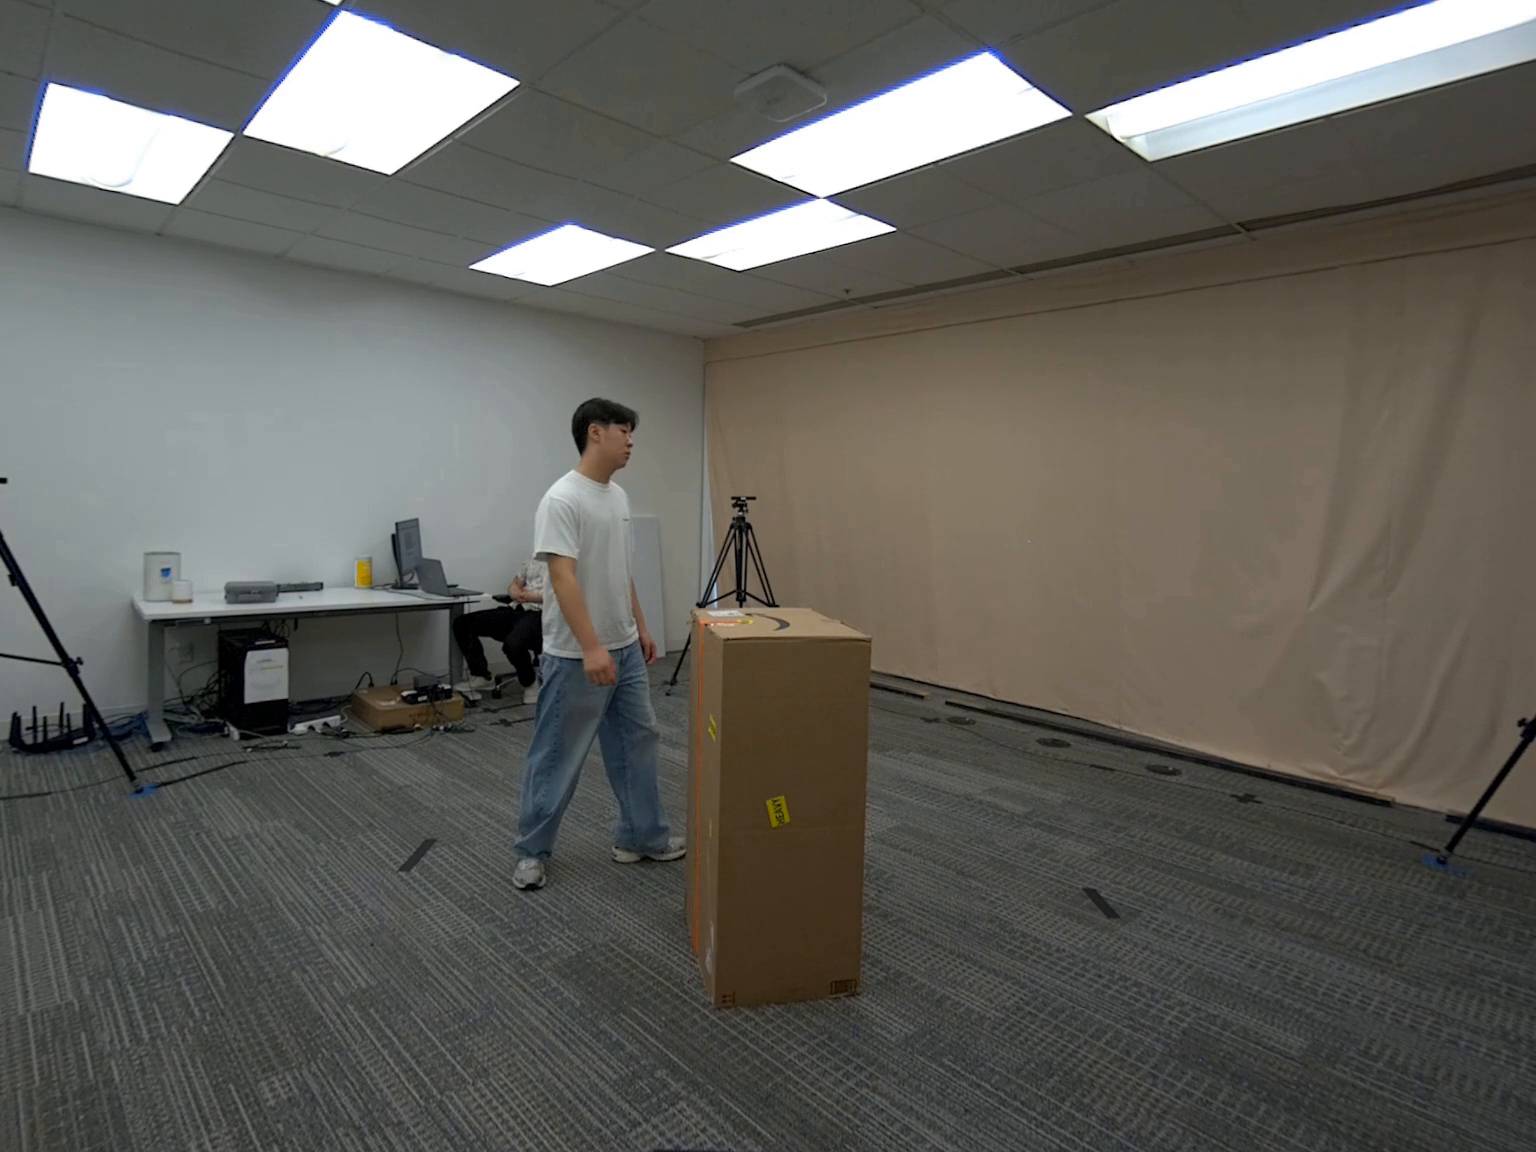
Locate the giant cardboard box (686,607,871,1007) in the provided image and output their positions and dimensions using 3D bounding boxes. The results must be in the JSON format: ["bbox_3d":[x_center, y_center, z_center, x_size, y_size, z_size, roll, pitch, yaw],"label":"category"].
[{"bbox_3d":[0.000,0.648,2.575,0.422,1.023,0.585,1,4,-14],"label":"giant cardboard box"}]
